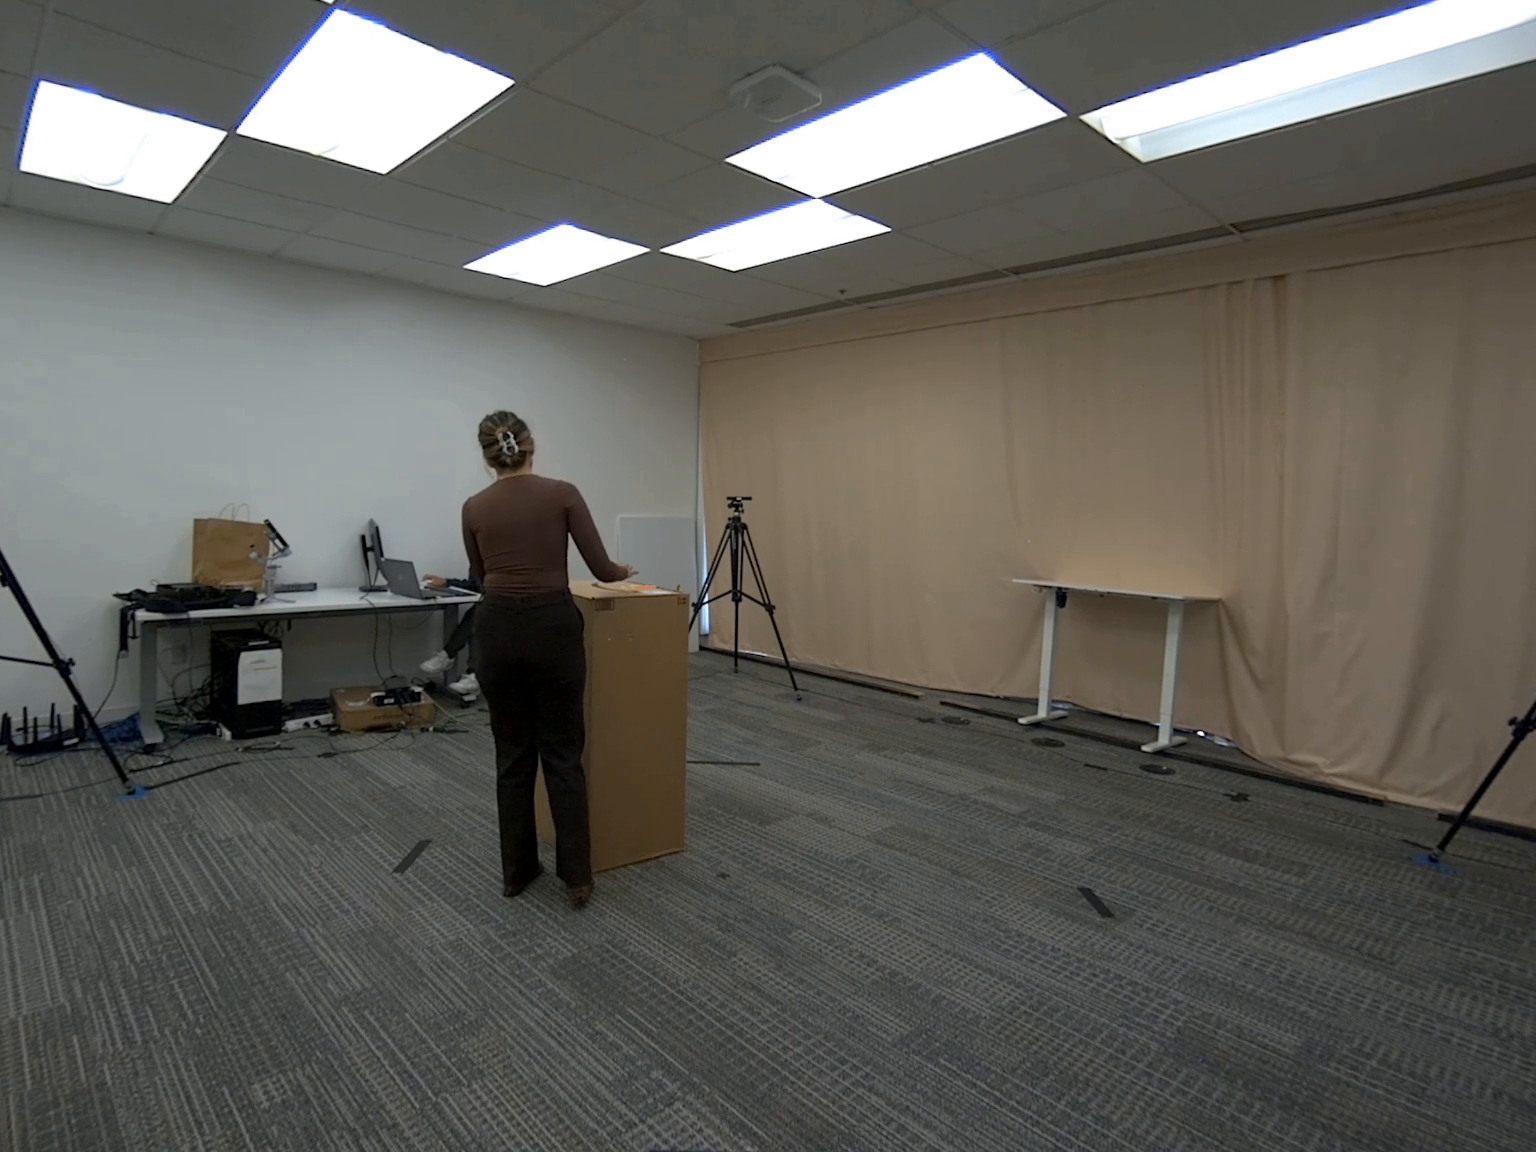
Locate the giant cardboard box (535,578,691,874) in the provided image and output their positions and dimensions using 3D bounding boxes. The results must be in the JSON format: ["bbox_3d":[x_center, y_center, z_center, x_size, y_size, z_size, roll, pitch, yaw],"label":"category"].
[{"bbox_3d":[-0.660,0.555,3.406,0.437,1.025,0.598,0,4,-36],"label":"giant cardboard box"}]
